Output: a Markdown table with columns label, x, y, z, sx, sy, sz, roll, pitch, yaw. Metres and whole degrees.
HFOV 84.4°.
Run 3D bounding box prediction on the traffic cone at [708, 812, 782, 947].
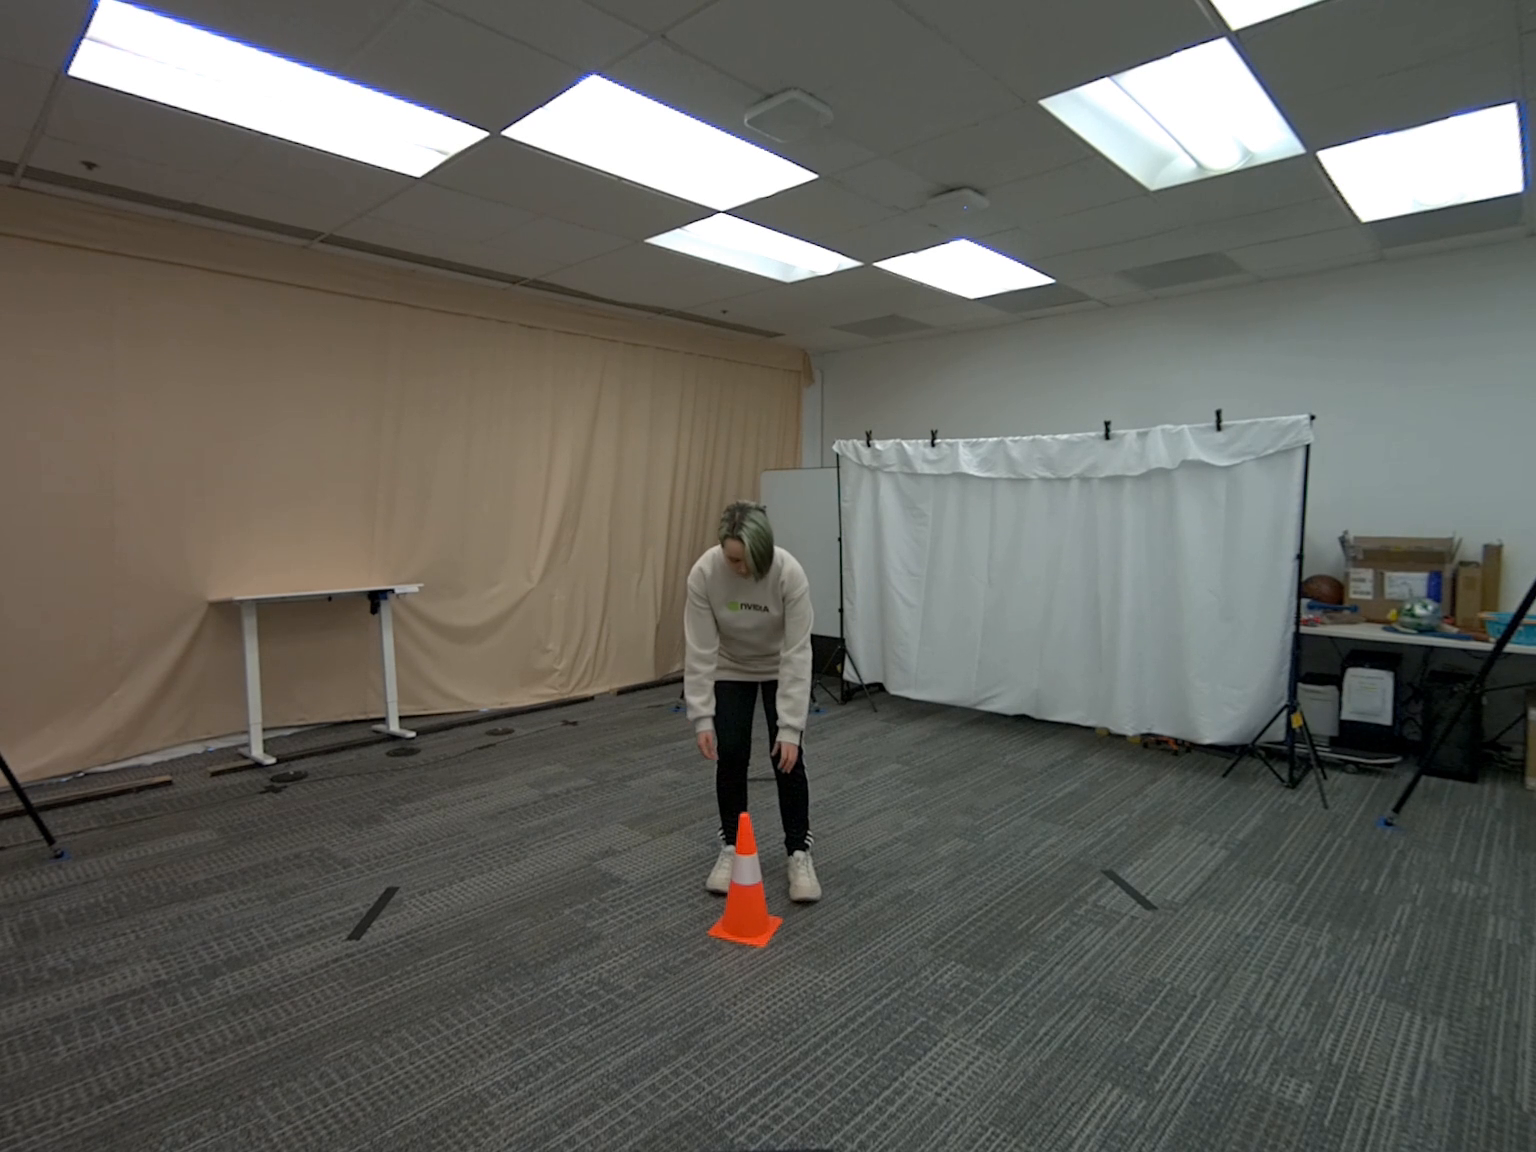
| label | x | y | z | sx | sy | sz | roll | pitch | yaw |
| --- | --- | --- | --- | --- | --- | --- | --- | --- | --- |
| traffic cone | -0.070 | 0.978 | 2.769 | 0.209 | 0.382 | 0.200 | 1 | 5 | 18 |
